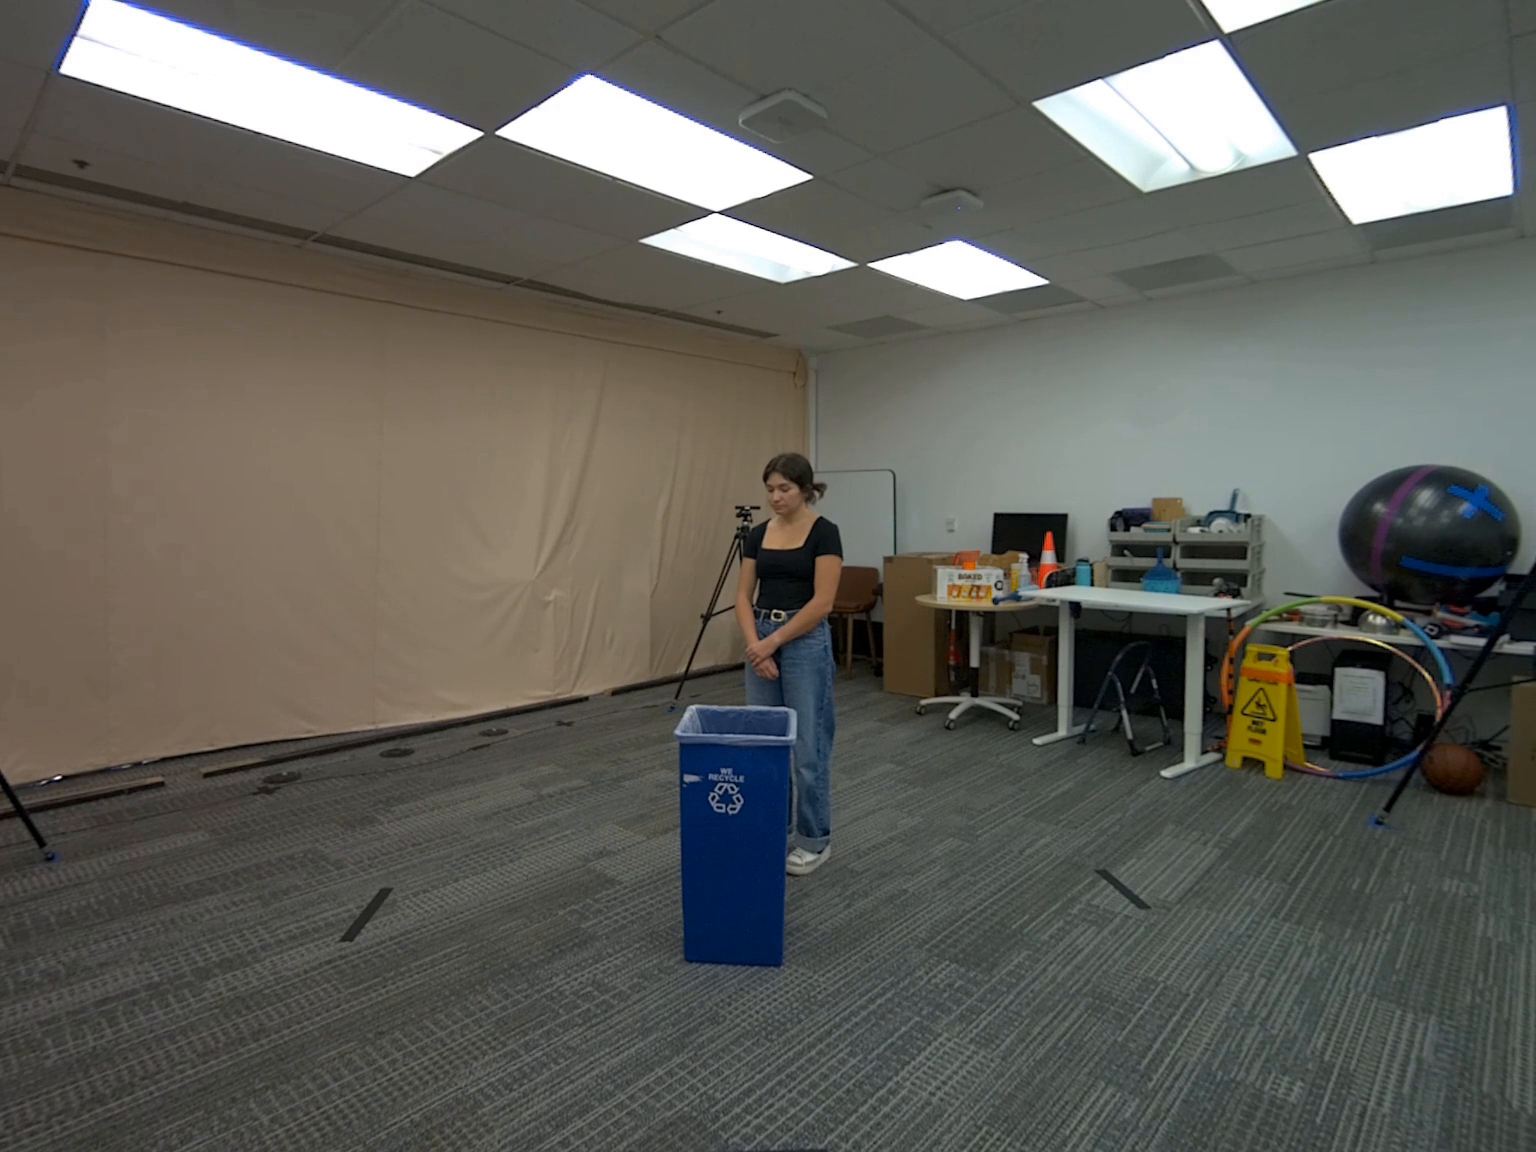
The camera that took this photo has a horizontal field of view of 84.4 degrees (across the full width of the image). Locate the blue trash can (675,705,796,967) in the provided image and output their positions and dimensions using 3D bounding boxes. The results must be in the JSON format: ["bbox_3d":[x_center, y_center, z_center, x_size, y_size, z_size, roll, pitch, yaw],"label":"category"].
[{"bbox_3d":[-0.092,0.820,2.677,0.376,0.711,0.377,0,5,4],"label":"blue trash can"}]
